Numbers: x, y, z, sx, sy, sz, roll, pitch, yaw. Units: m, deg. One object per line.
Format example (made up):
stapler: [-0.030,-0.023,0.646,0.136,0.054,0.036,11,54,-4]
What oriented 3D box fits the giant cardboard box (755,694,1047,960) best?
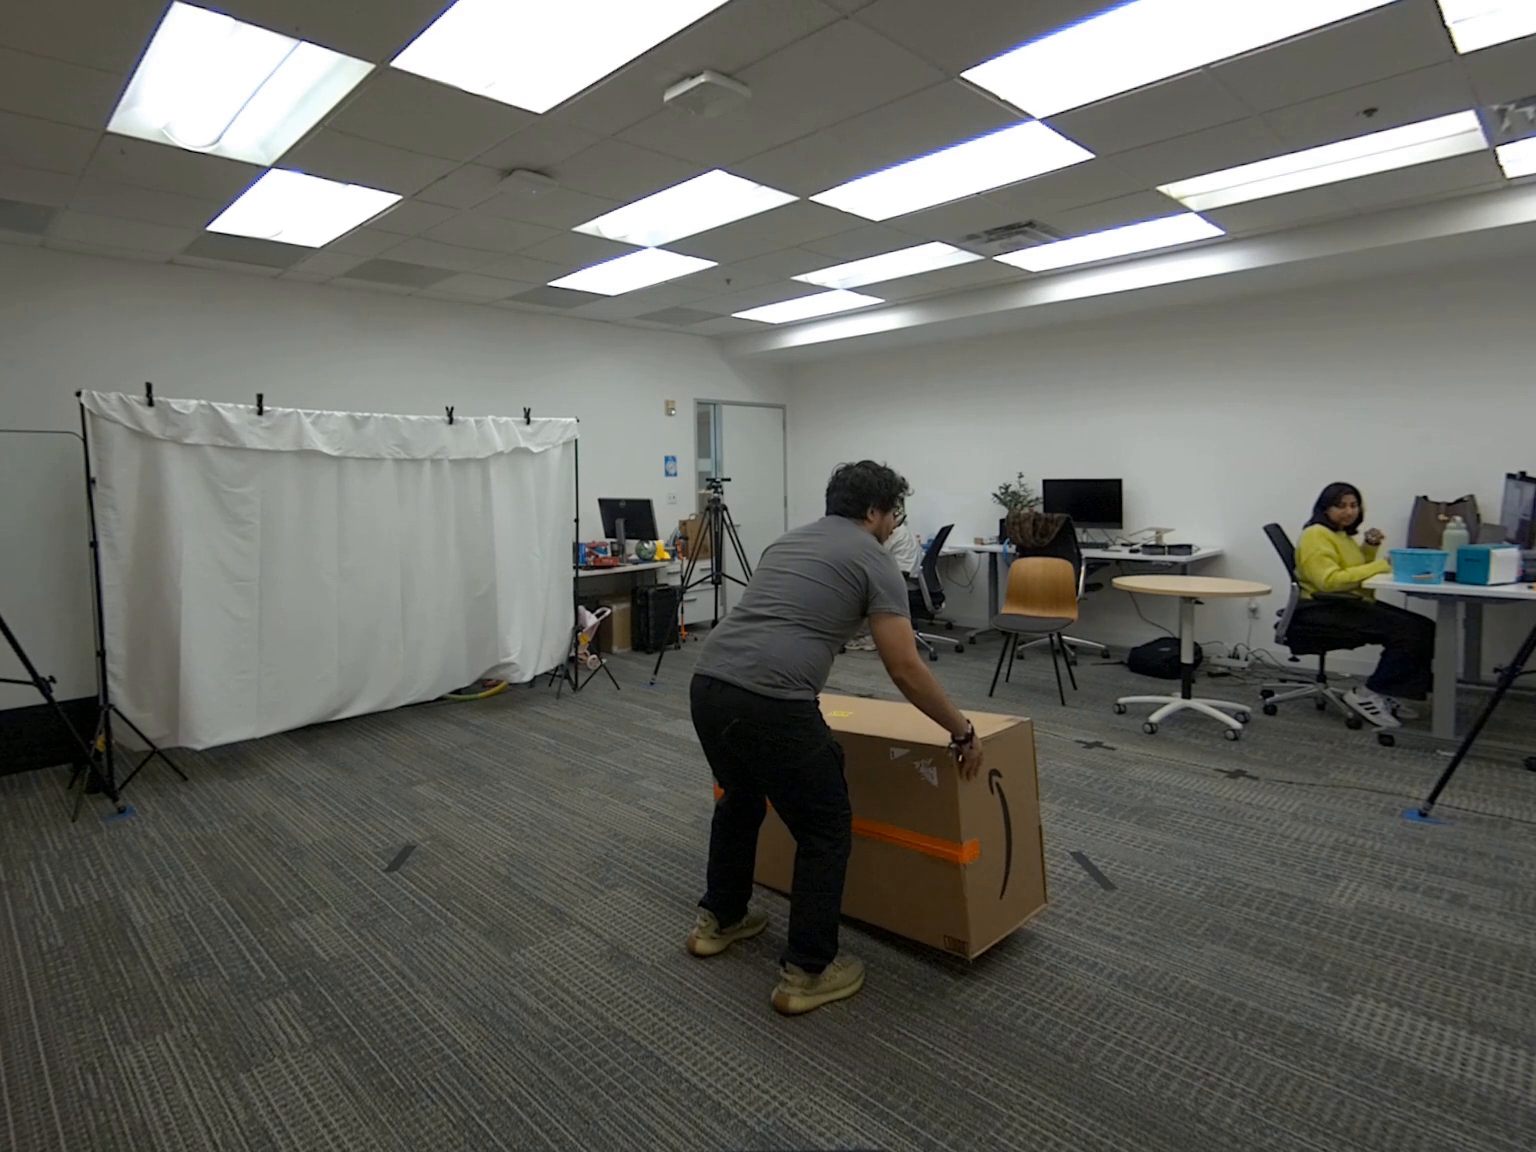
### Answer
giant cardboard box: [0.324,0.745,2.829,0.415,0.577,1.054,-5,2,-43]
